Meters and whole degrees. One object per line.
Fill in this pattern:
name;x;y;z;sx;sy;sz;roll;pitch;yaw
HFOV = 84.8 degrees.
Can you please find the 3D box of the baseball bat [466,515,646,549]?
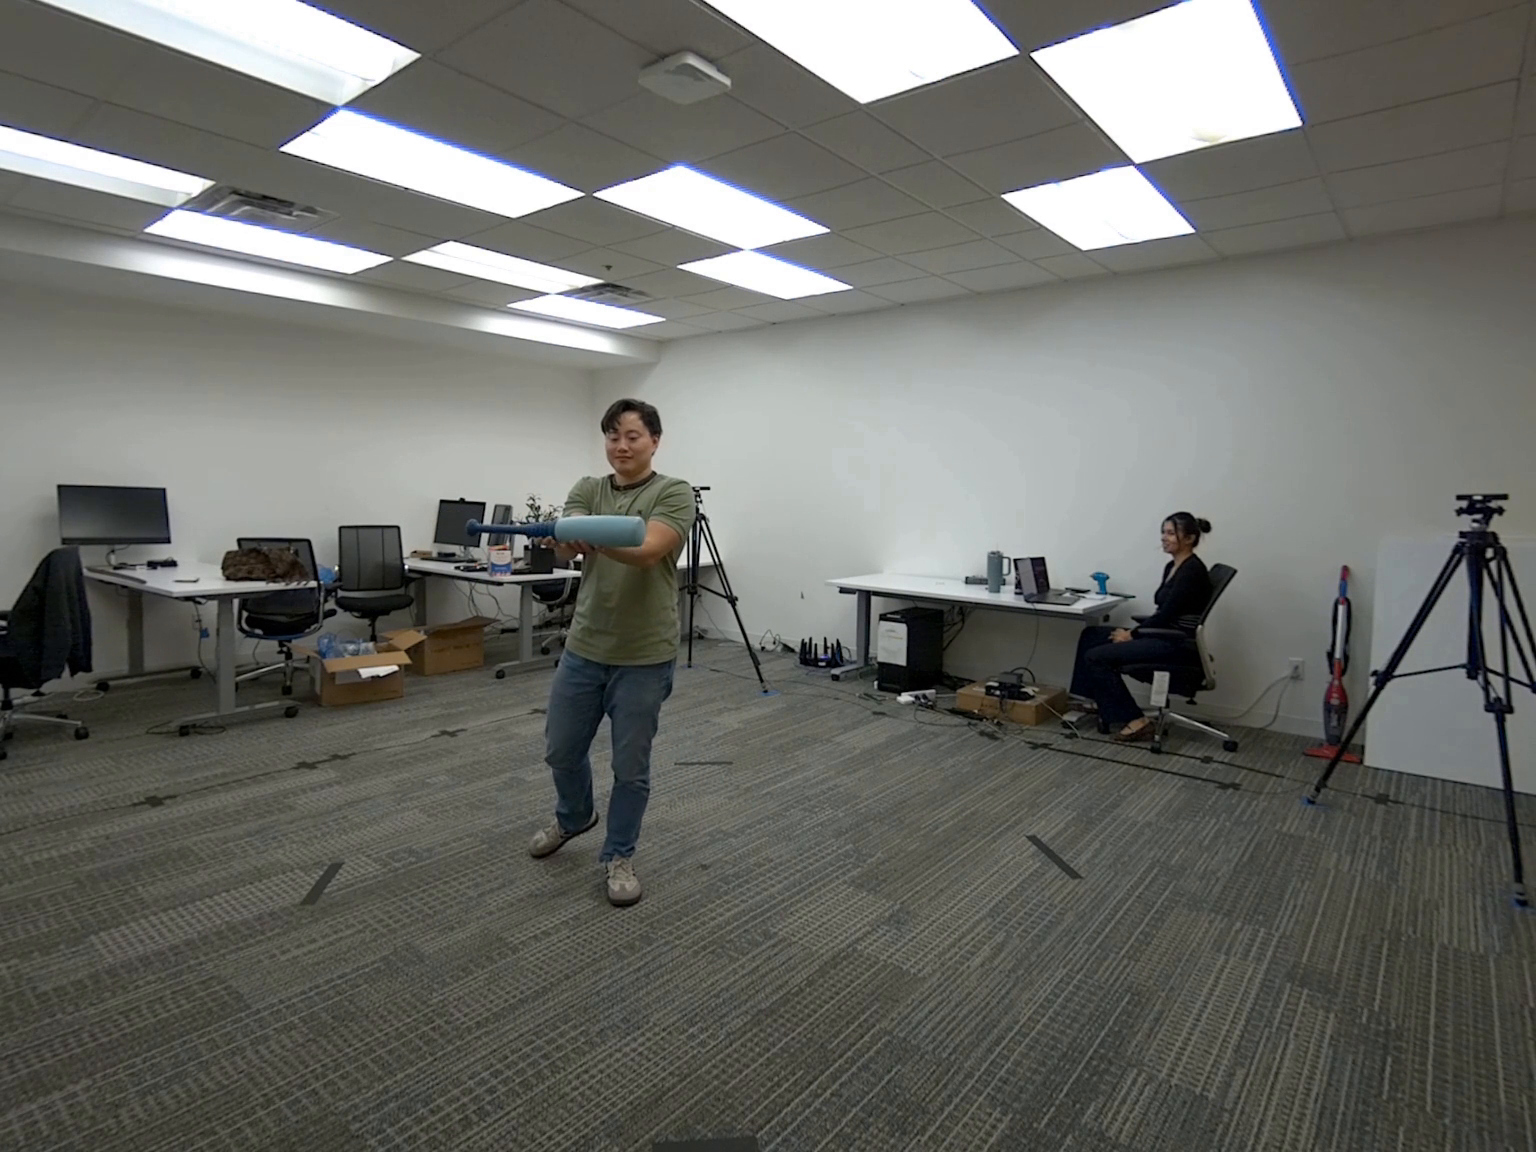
baseball bat;-0.623;-0.136;2.414;0.552;0.089;0.088;3;4;15
